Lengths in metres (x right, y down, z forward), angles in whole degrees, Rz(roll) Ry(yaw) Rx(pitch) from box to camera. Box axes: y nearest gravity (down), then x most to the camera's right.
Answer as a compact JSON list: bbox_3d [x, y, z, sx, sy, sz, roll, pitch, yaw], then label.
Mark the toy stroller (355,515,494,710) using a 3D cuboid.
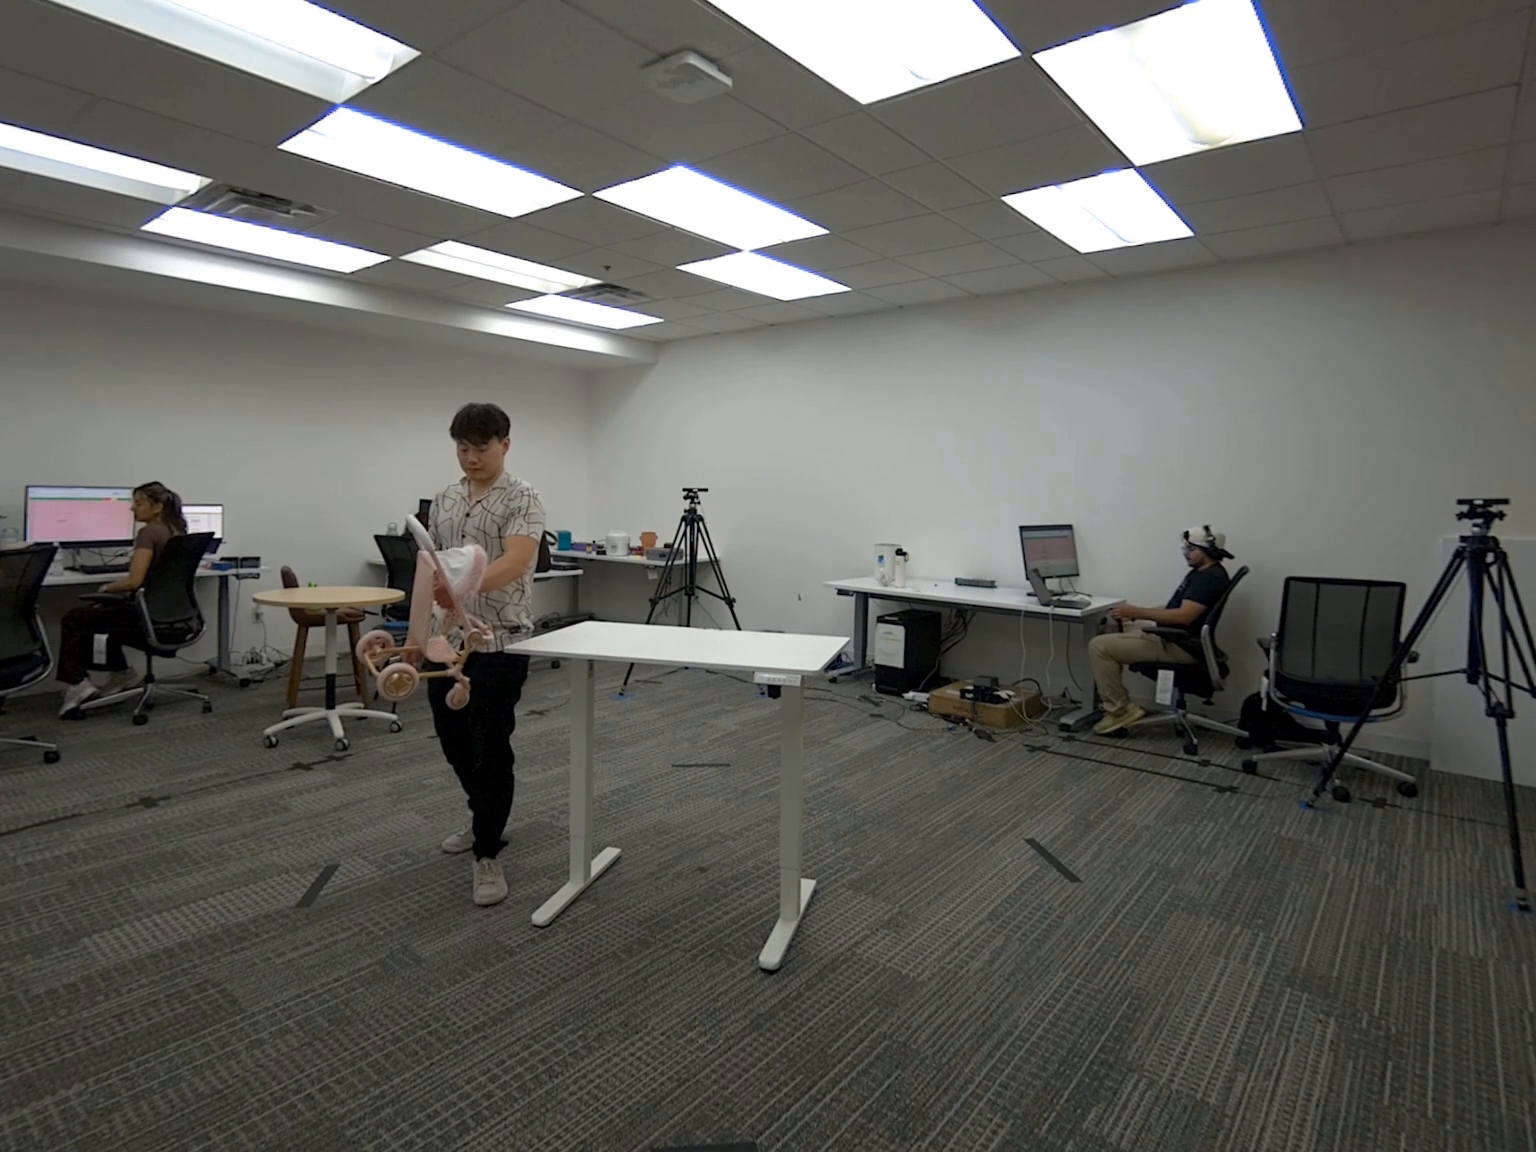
[{"bbox_3d":[-0.966,0.127,2.474,0.329,0.533,0.292,16,5,-35],"label":"toy stroller"}]
